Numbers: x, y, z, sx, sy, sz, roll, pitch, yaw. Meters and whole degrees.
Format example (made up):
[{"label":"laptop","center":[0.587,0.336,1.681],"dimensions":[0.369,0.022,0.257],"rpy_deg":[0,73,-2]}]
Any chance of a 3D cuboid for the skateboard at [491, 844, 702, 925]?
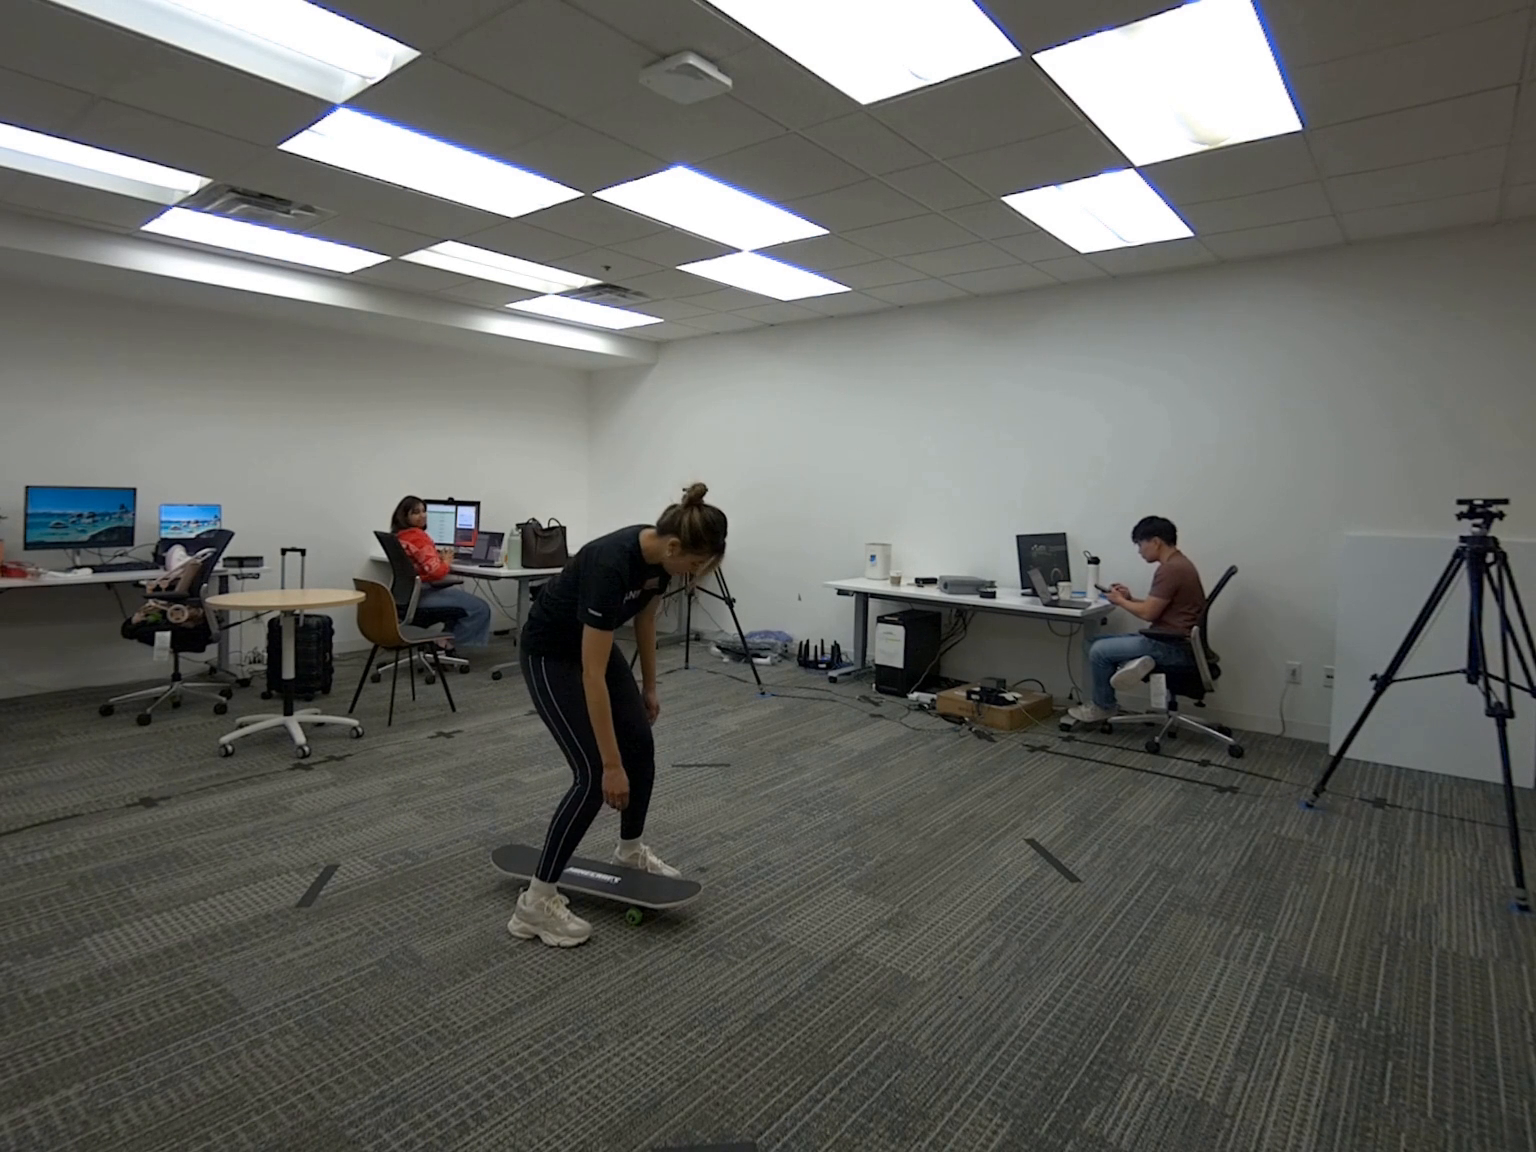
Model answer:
[{"label":"skateboard","center":[-0.597,1.027,2.846],"dimensions":[0.803,0.110,0.190],"rpy_deg":[3,6,22]}]
